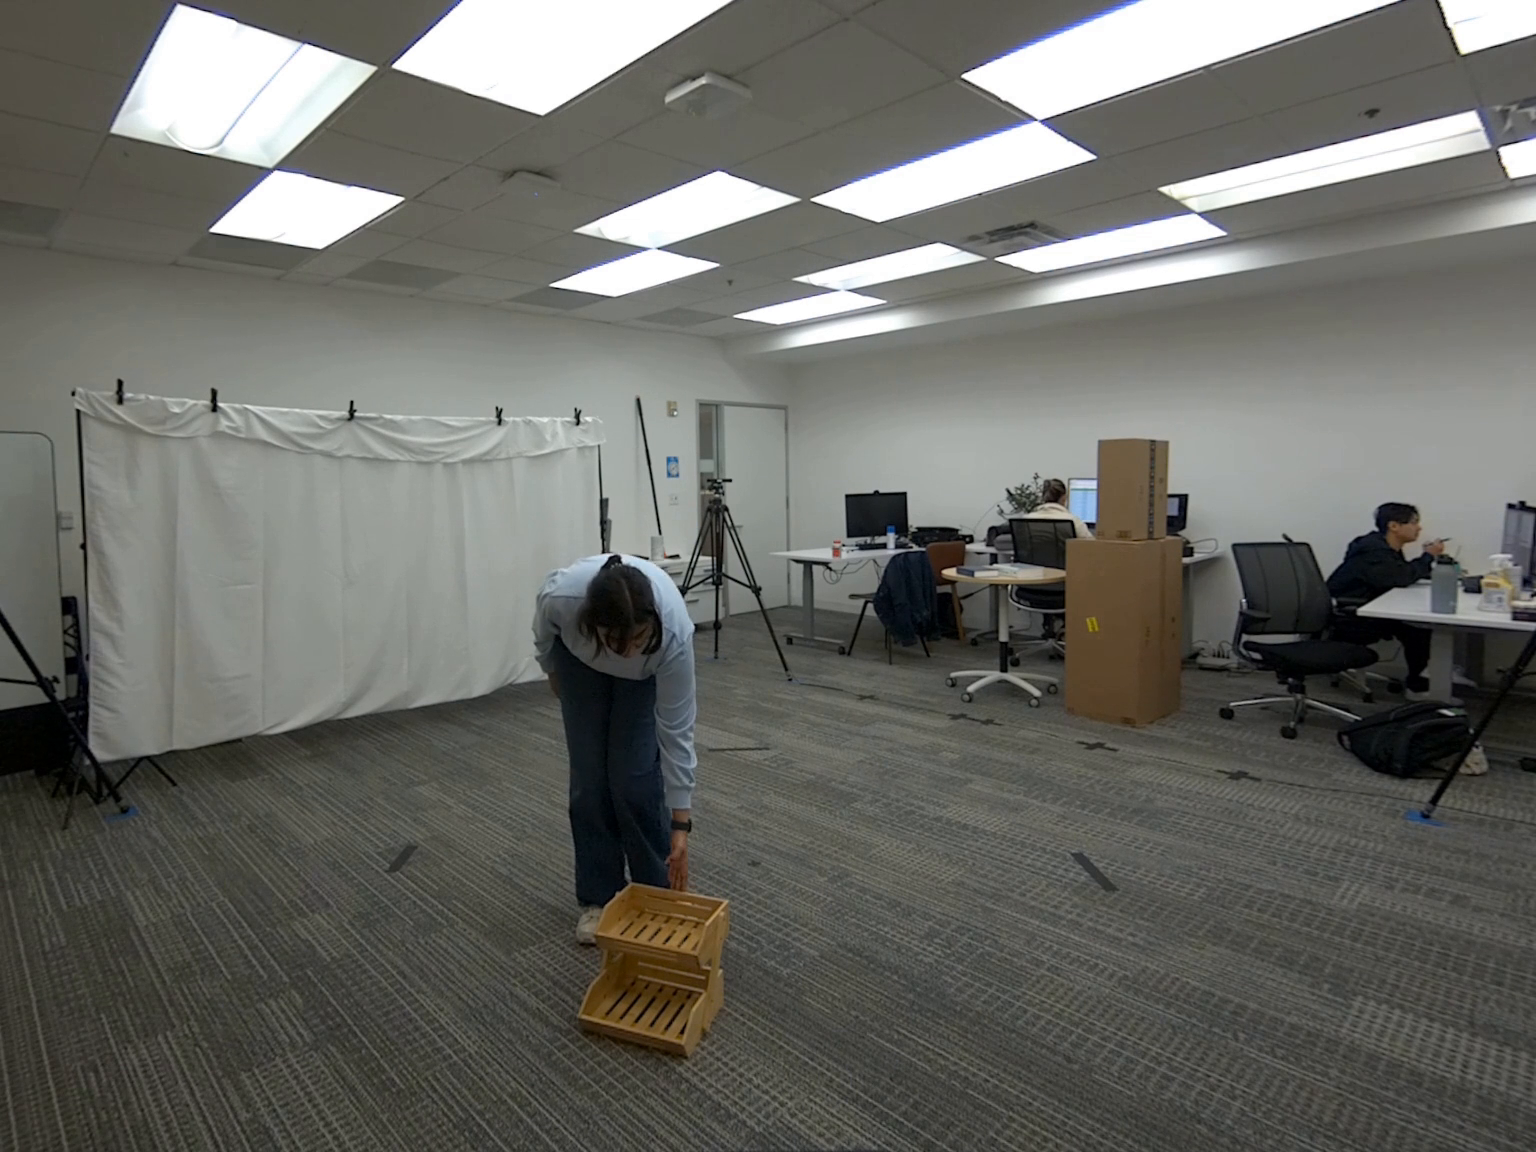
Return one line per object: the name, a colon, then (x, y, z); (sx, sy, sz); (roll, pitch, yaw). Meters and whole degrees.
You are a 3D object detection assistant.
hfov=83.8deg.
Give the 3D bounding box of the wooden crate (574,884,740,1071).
wooden crate: (-0.283, 1.022, 2.233); (0.331, 0.273, 0.297); (0, 4, 20)
